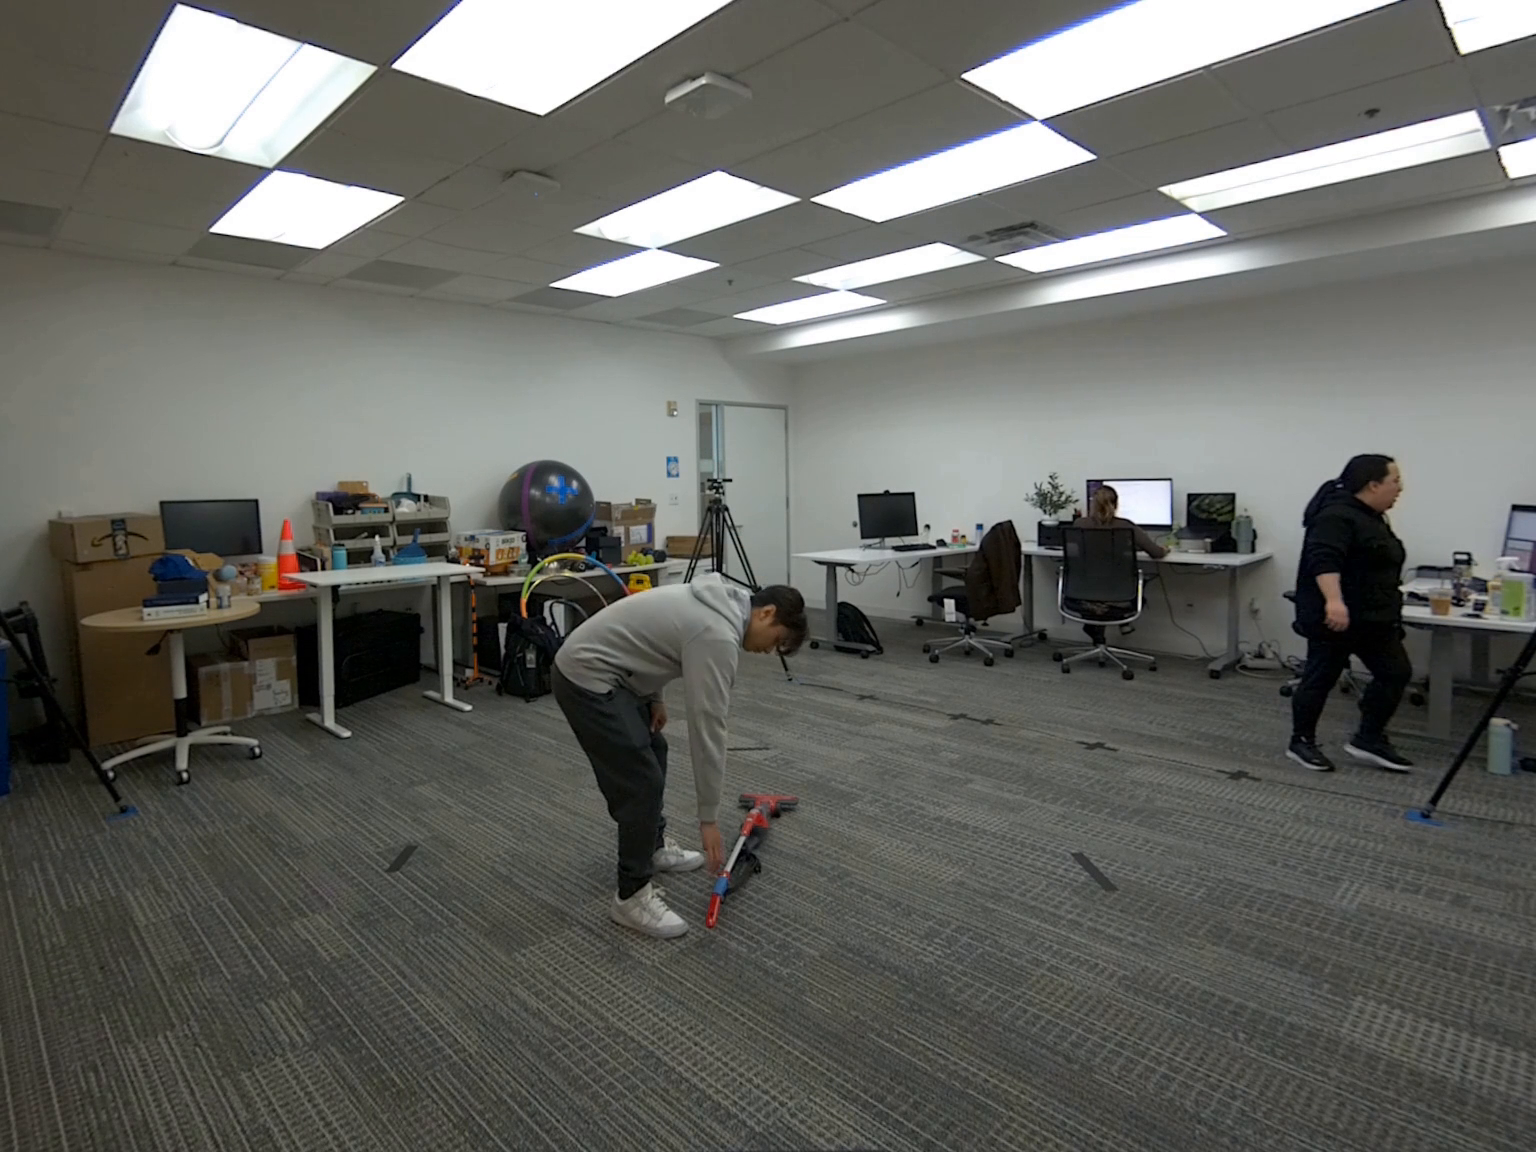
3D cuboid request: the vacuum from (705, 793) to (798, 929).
[{"bbox_3d":[-0.085,0.993,3.062,0.255,0.143,1.042,10,6,7],"label":"vacuum"}]
